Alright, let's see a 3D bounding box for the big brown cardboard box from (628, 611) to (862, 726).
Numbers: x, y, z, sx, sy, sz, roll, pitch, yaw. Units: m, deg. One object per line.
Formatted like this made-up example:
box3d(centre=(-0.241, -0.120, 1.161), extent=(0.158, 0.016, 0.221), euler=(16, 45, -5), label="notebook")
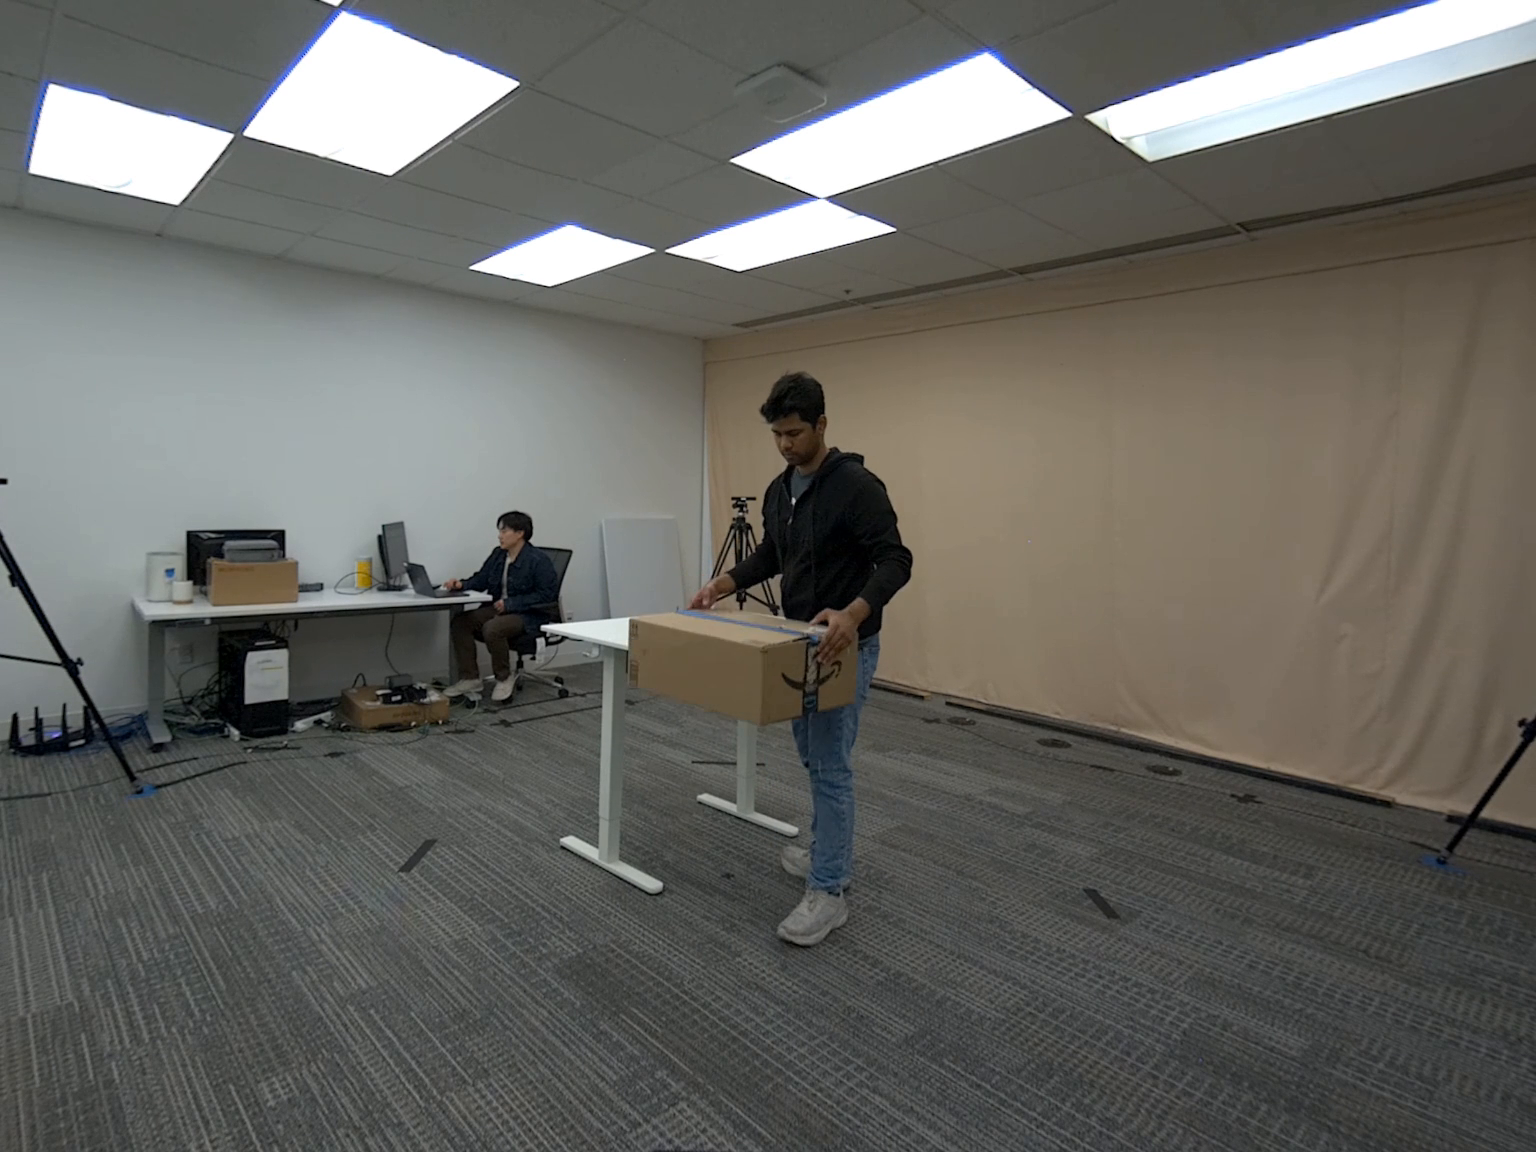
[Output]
box3d(centre=(-0.093, 0.260, 2.555), extent=(0.604, 0.232, 0.408), euler=(7, 8, 43), label="big brown cardboard box")
